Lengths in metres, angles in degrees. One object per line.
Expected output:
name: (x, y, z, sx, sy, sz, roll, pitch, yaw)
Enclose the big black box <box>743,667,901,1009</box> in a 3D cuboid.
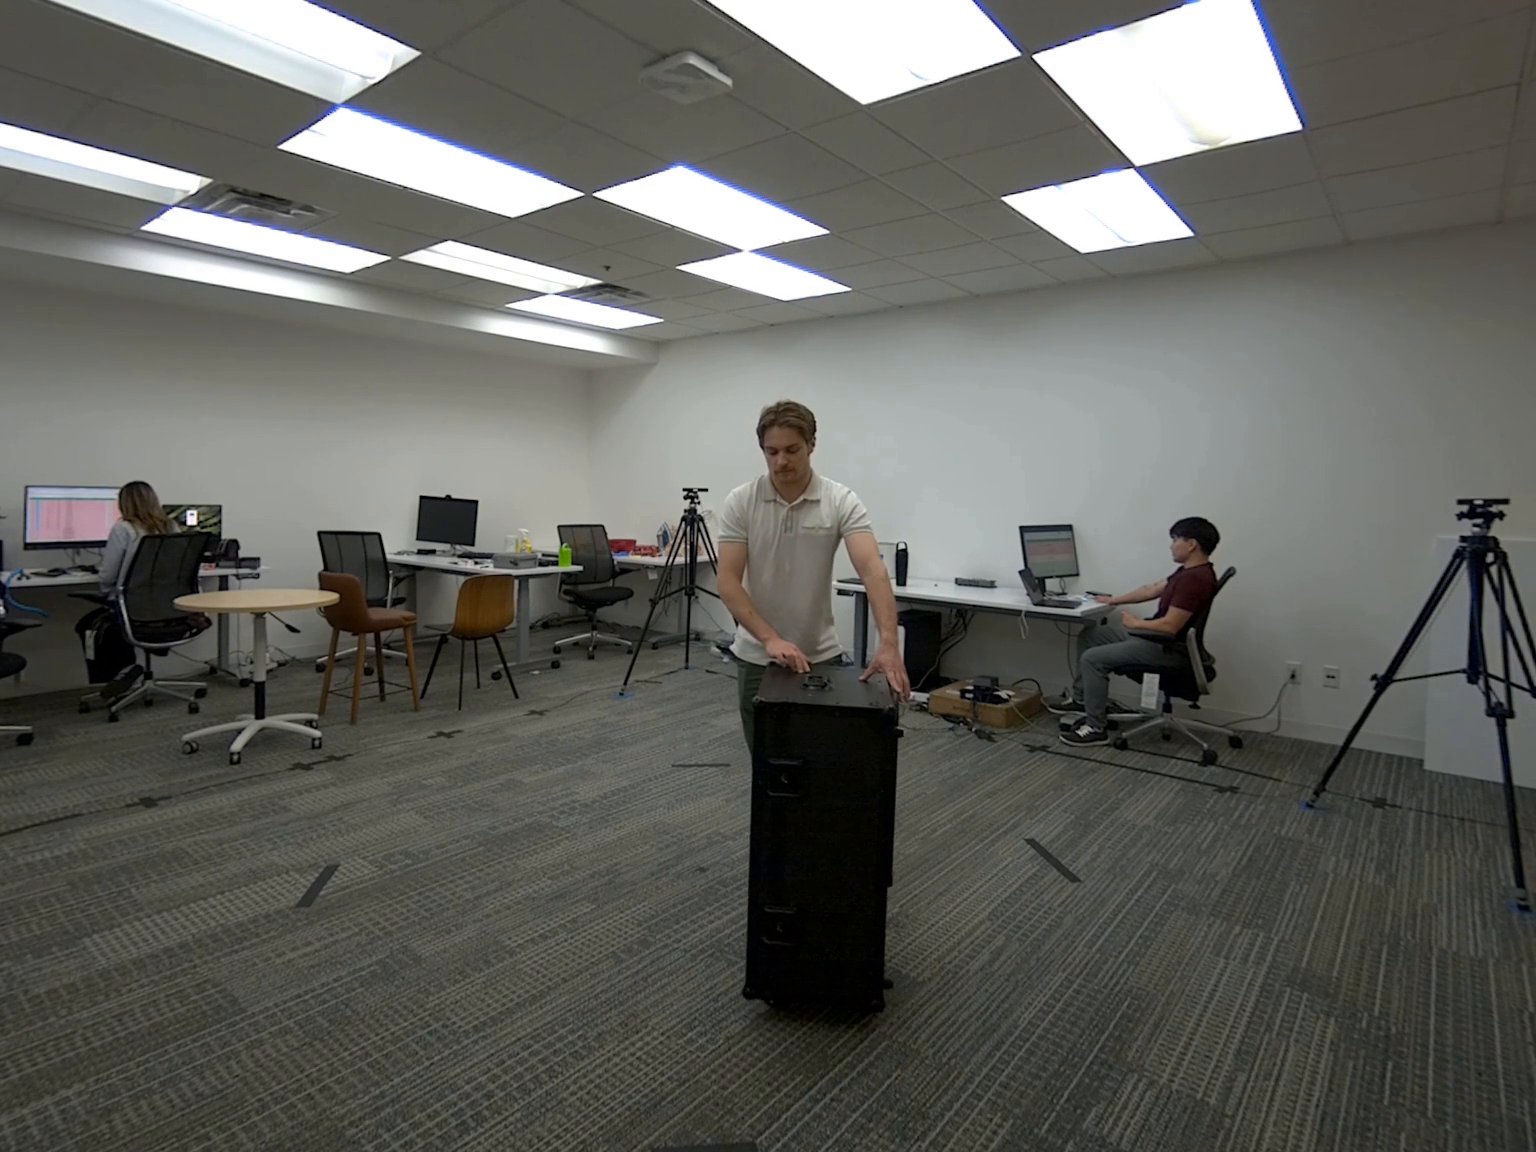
big black box: (0.143, 0.722, 2.403, 0.388, 0.866, 0.522, 2, 4, 5)
